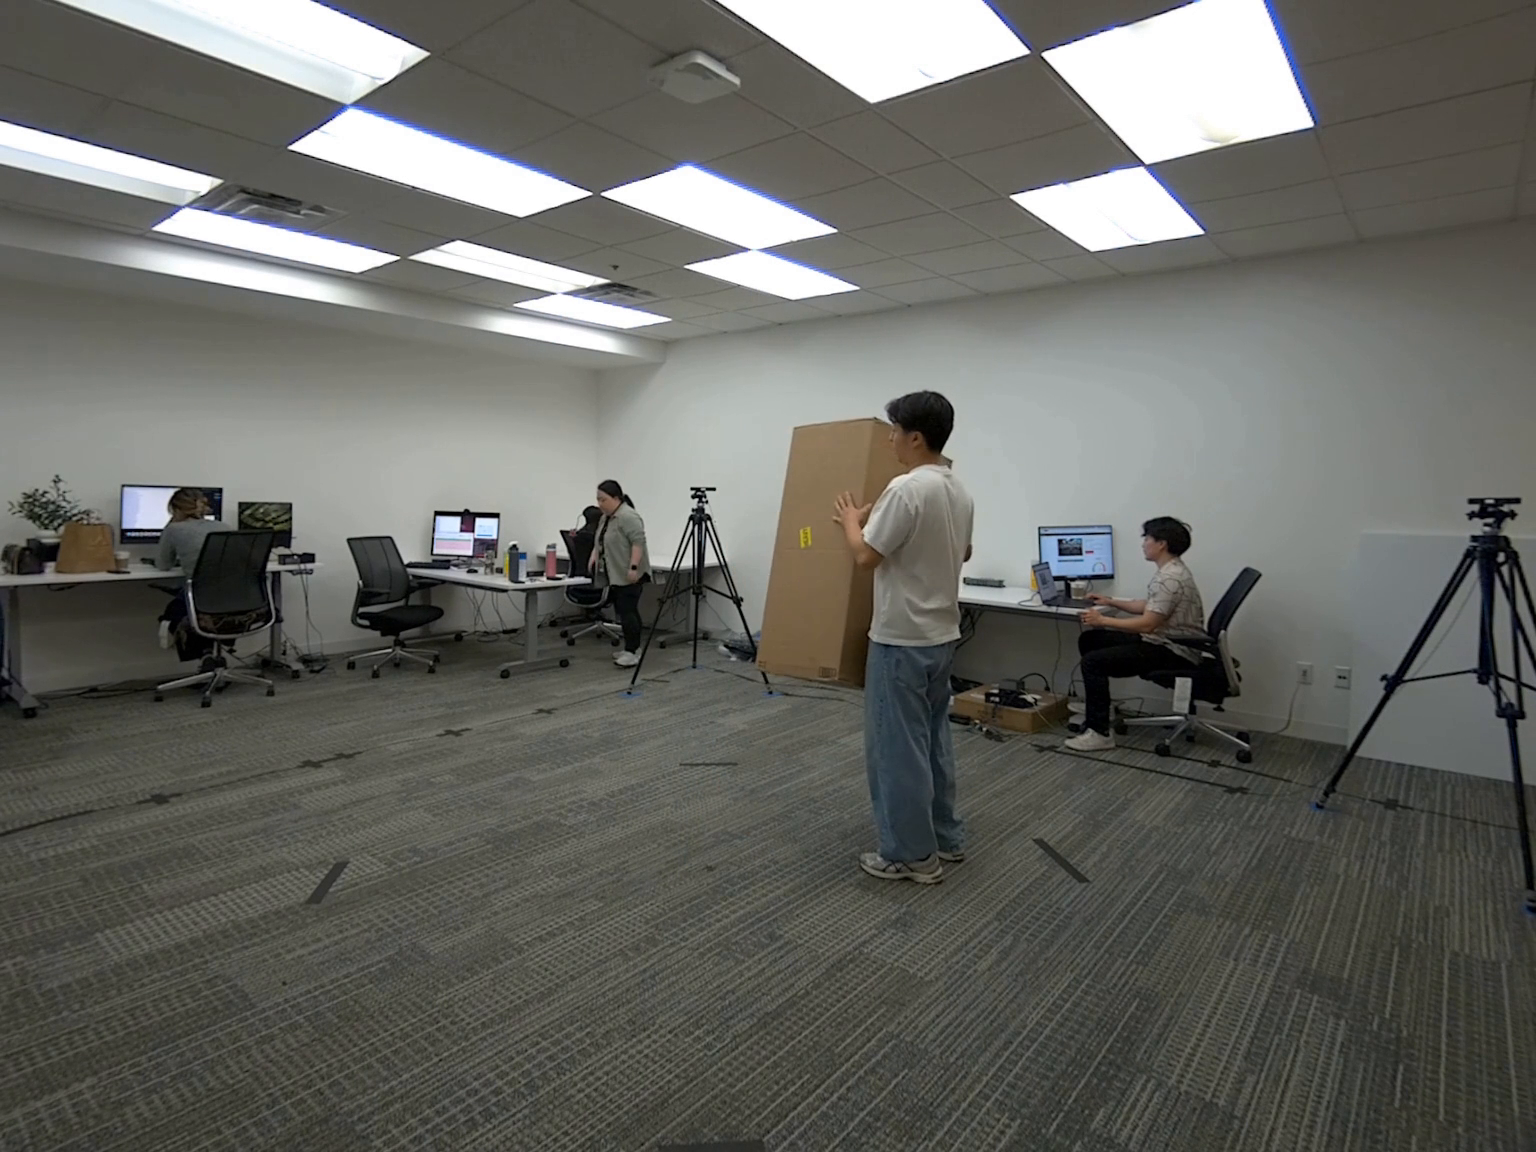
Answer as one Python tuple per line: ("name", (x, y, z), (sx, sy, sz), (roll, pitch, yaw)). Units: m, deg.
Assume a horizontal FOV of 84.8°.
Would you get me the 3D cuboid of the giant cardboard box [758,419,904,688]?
("giant cardboard box", (0.354, -0.054, 3.516), (0.439, 1.034, 0.555), (-1, -13, 45))
